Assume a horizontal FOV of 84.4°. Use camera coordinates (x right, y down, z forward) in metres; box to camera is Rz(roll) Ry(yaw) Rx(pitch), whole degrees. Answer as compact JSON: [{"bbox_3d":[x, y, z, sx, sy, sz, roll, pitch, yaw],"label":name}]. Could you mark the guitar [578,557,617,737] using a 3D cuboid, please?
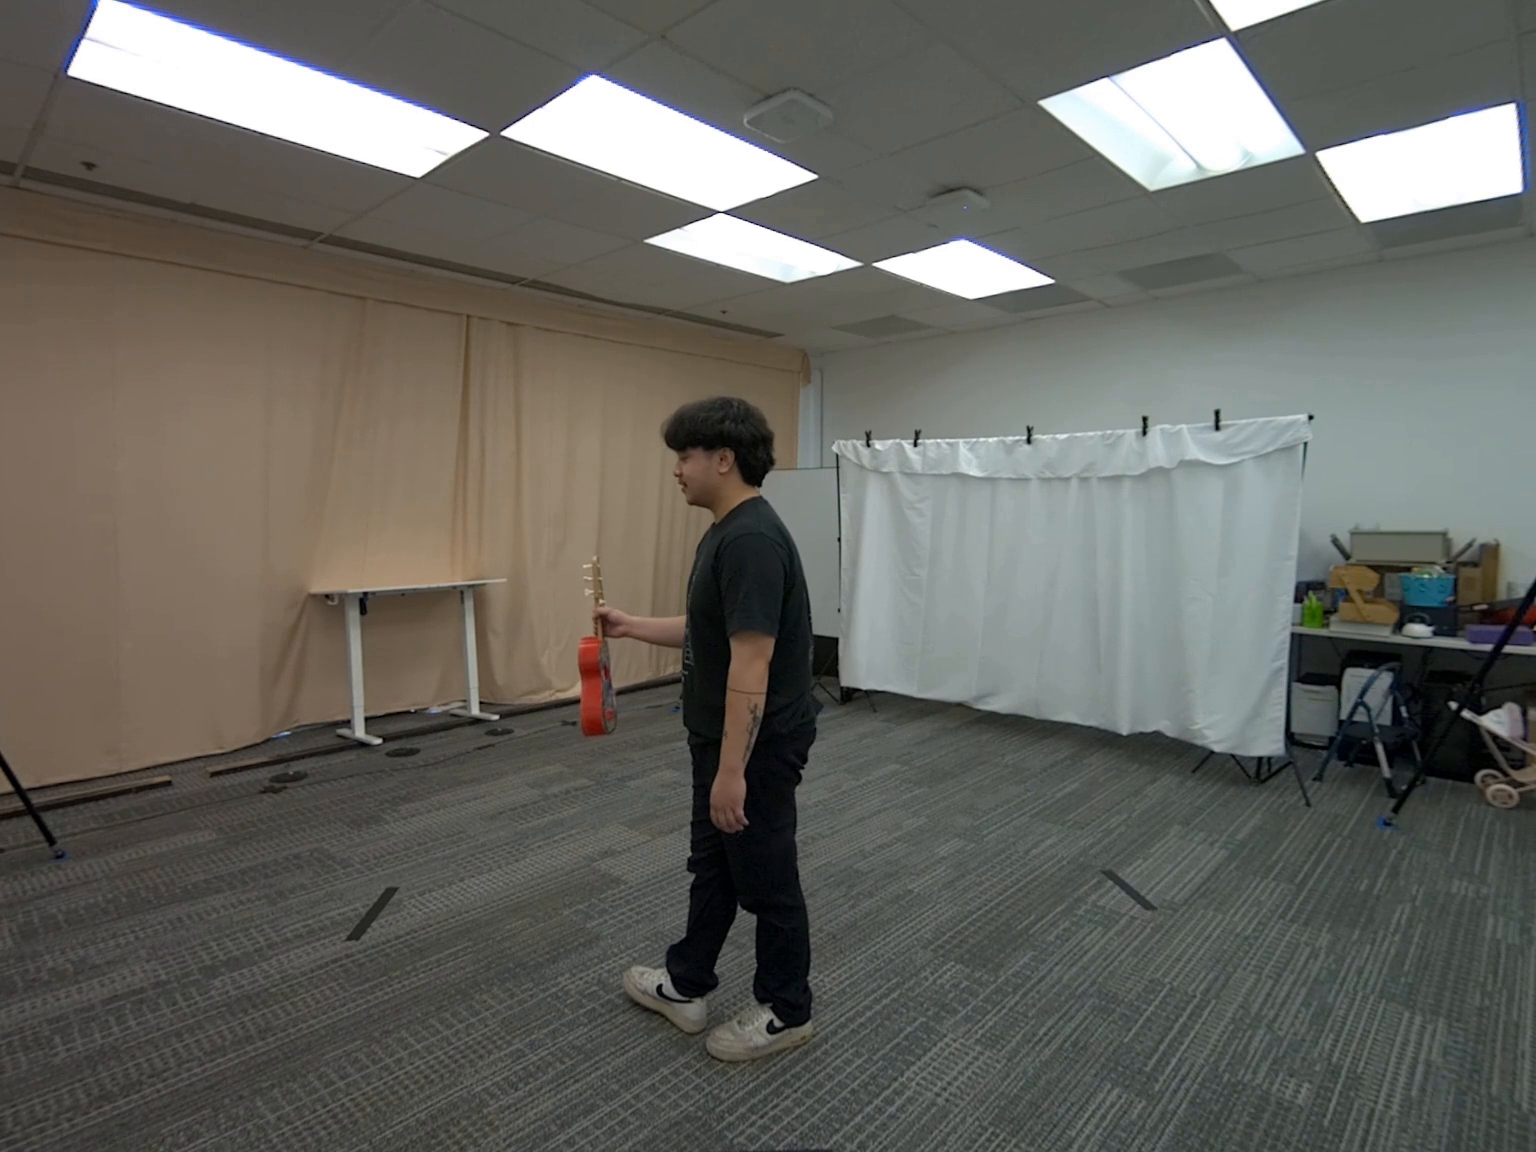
[{"bbox_3d":[-0.486,0.208,2.403,0.071,0.502,0.190,-5,-13,2],"label":"guitar"}]
